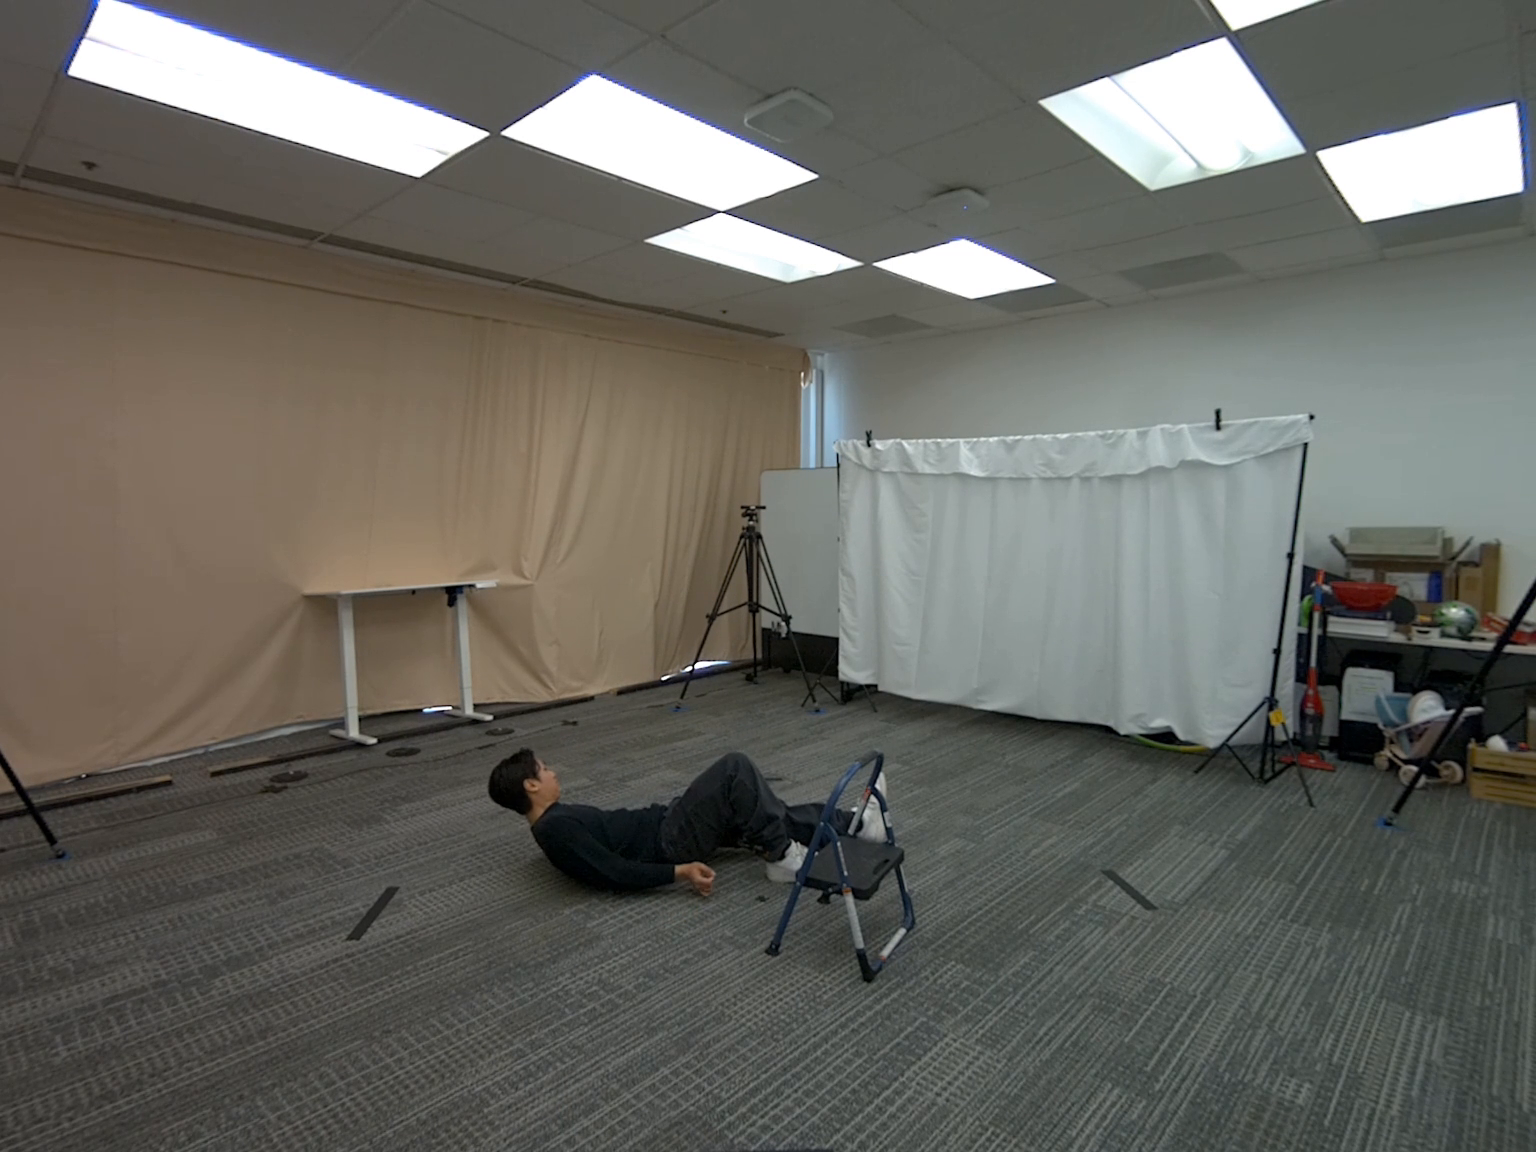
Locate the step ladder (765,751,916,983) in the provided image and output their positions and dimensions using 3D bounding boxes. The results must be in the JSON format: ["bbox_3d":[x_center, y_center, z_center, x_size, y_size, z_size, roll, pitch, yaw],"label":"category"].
[{"bbox_3d":[0.248,0.864,2.695,0.359,0.605,0.419,1,4,29],"label":"step ladder"}]
